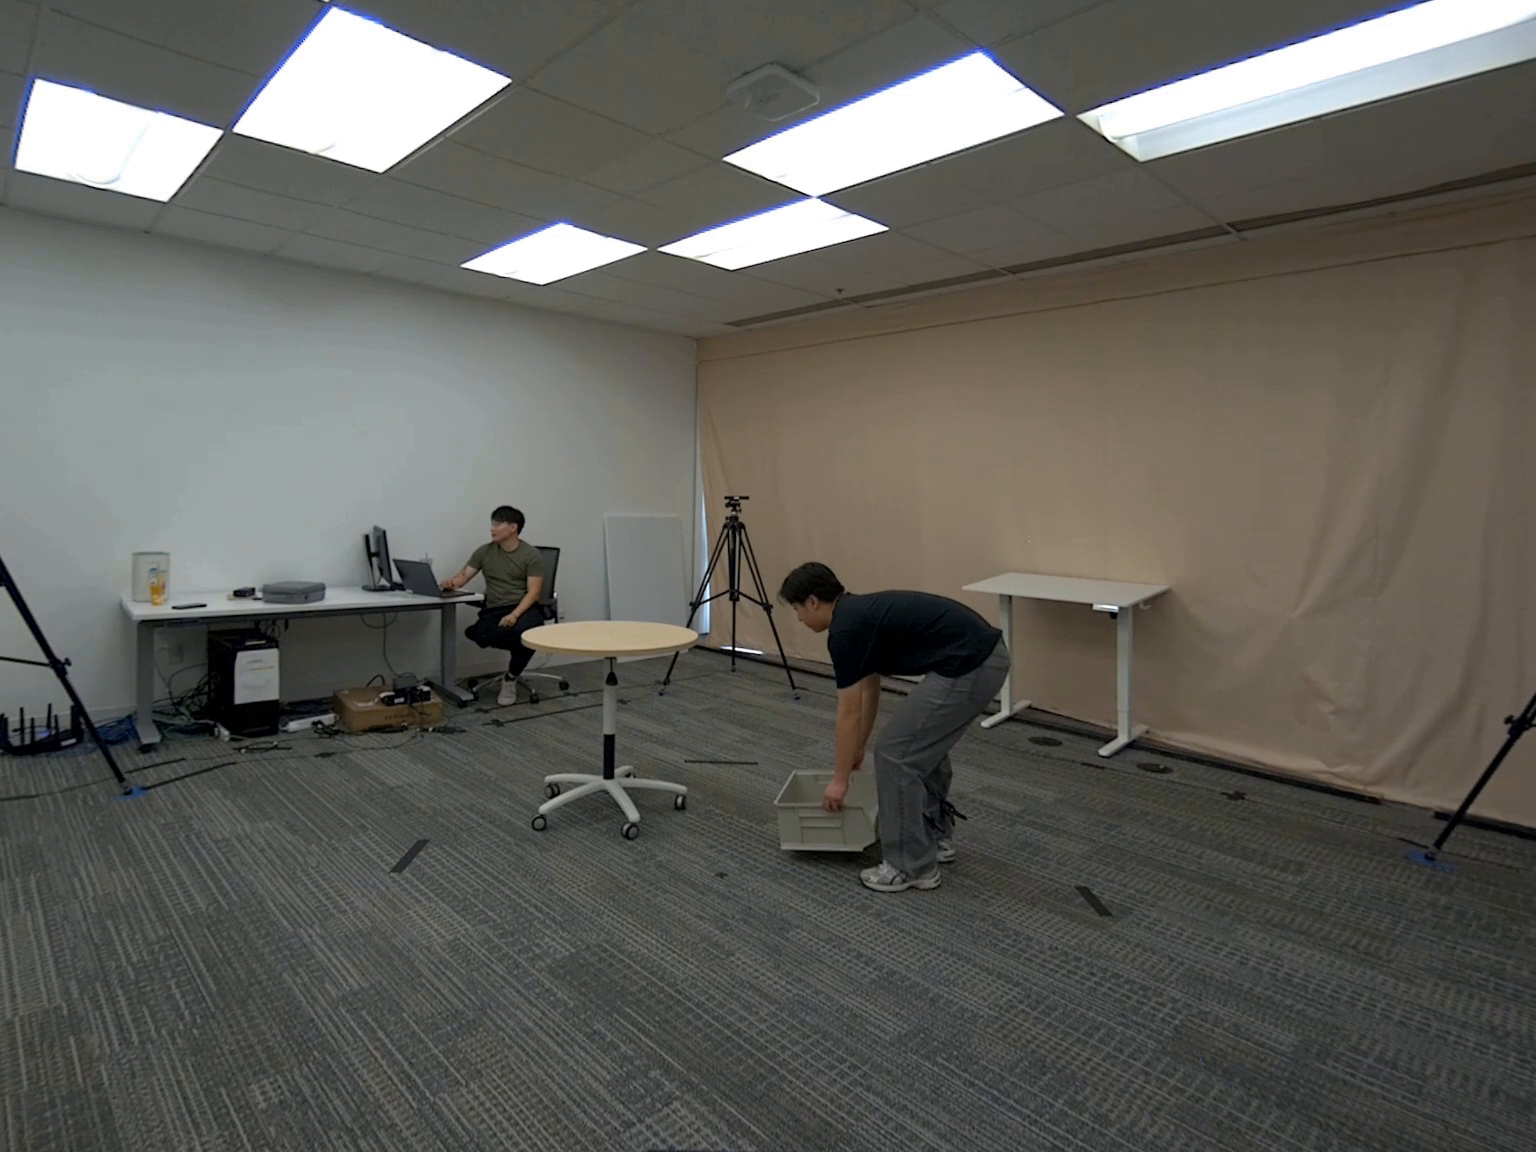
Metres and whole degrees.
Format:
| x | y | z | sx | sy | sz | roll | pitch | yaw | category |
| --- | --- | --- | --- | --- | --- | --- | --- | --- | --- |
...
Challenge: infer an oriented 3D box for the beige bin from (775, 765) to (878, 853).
| x | y | z | sx | sy | sz | roll | pitch | yaw | category |
| --- | --- | --- | --- | --- | --- | --- | --- | --- | --- |
| 0.251 | 0.920 | 3.366 | 0.381 | 0.188 | 0.419 | -5 | 4 | 13 | beige bin |
